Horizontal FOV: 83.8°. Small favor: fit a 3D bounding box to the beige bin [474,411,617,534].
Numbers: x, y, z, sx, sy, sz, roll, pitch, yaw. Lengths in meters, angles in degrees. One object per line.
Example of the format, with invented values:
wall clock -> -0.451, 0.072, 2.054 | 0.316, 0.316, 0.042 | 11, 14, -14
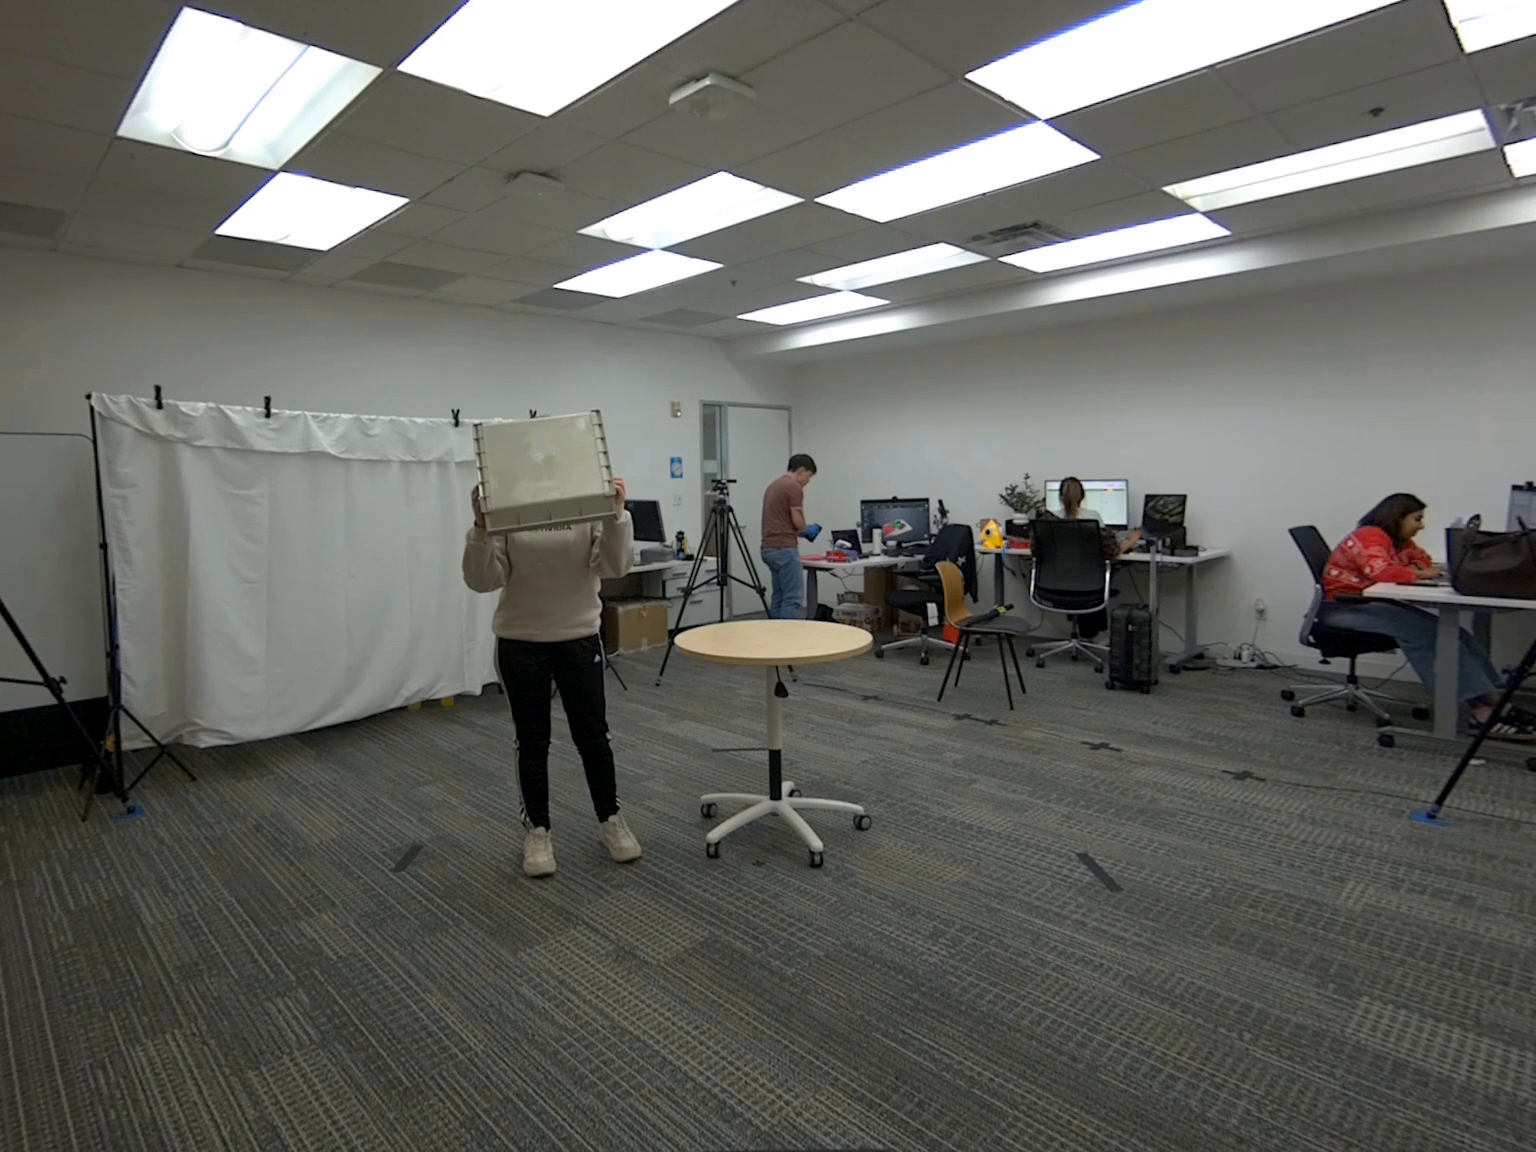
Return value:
beige bin -> -0.723, -0.319, 2.768 | 0.418, 0.385, 0.187 | -9, -19, -13
